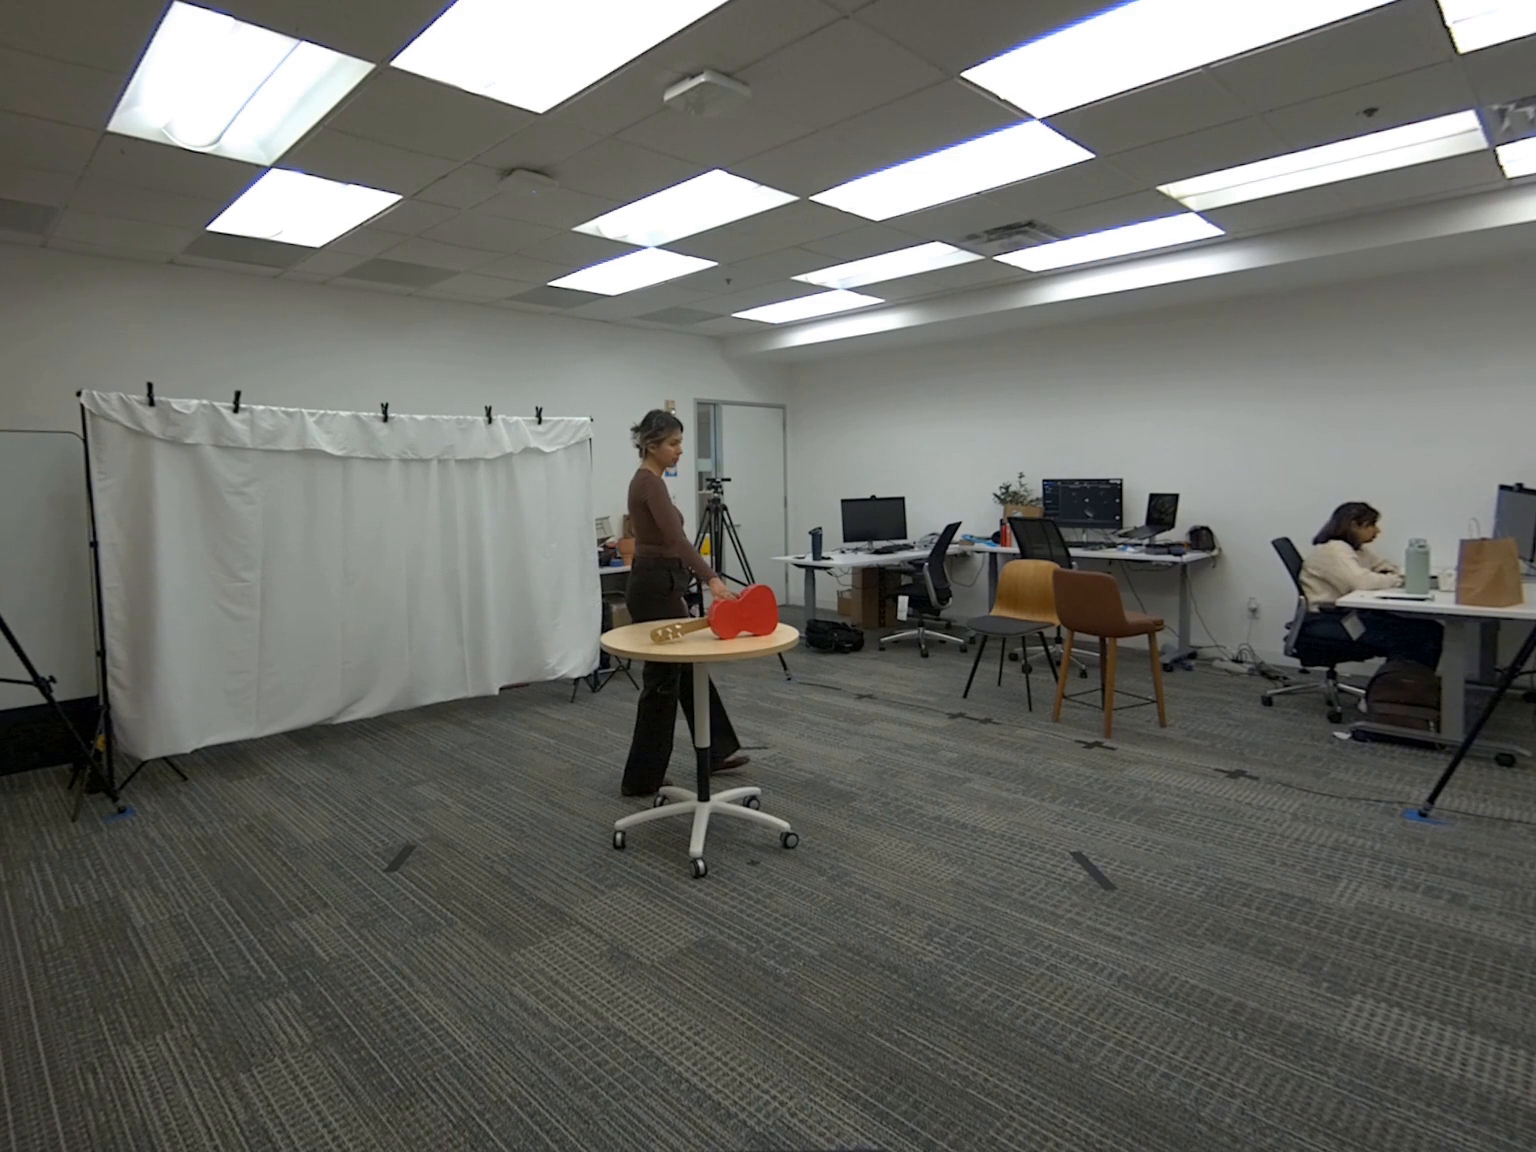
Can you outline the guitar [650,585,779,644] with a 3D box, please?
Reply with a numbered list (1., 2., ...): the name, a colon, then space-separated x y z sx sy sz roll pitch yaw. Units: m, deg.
1. guitar: -0.185 0.196 3.195 0.492 0.191 0.072 -23 11 -22
